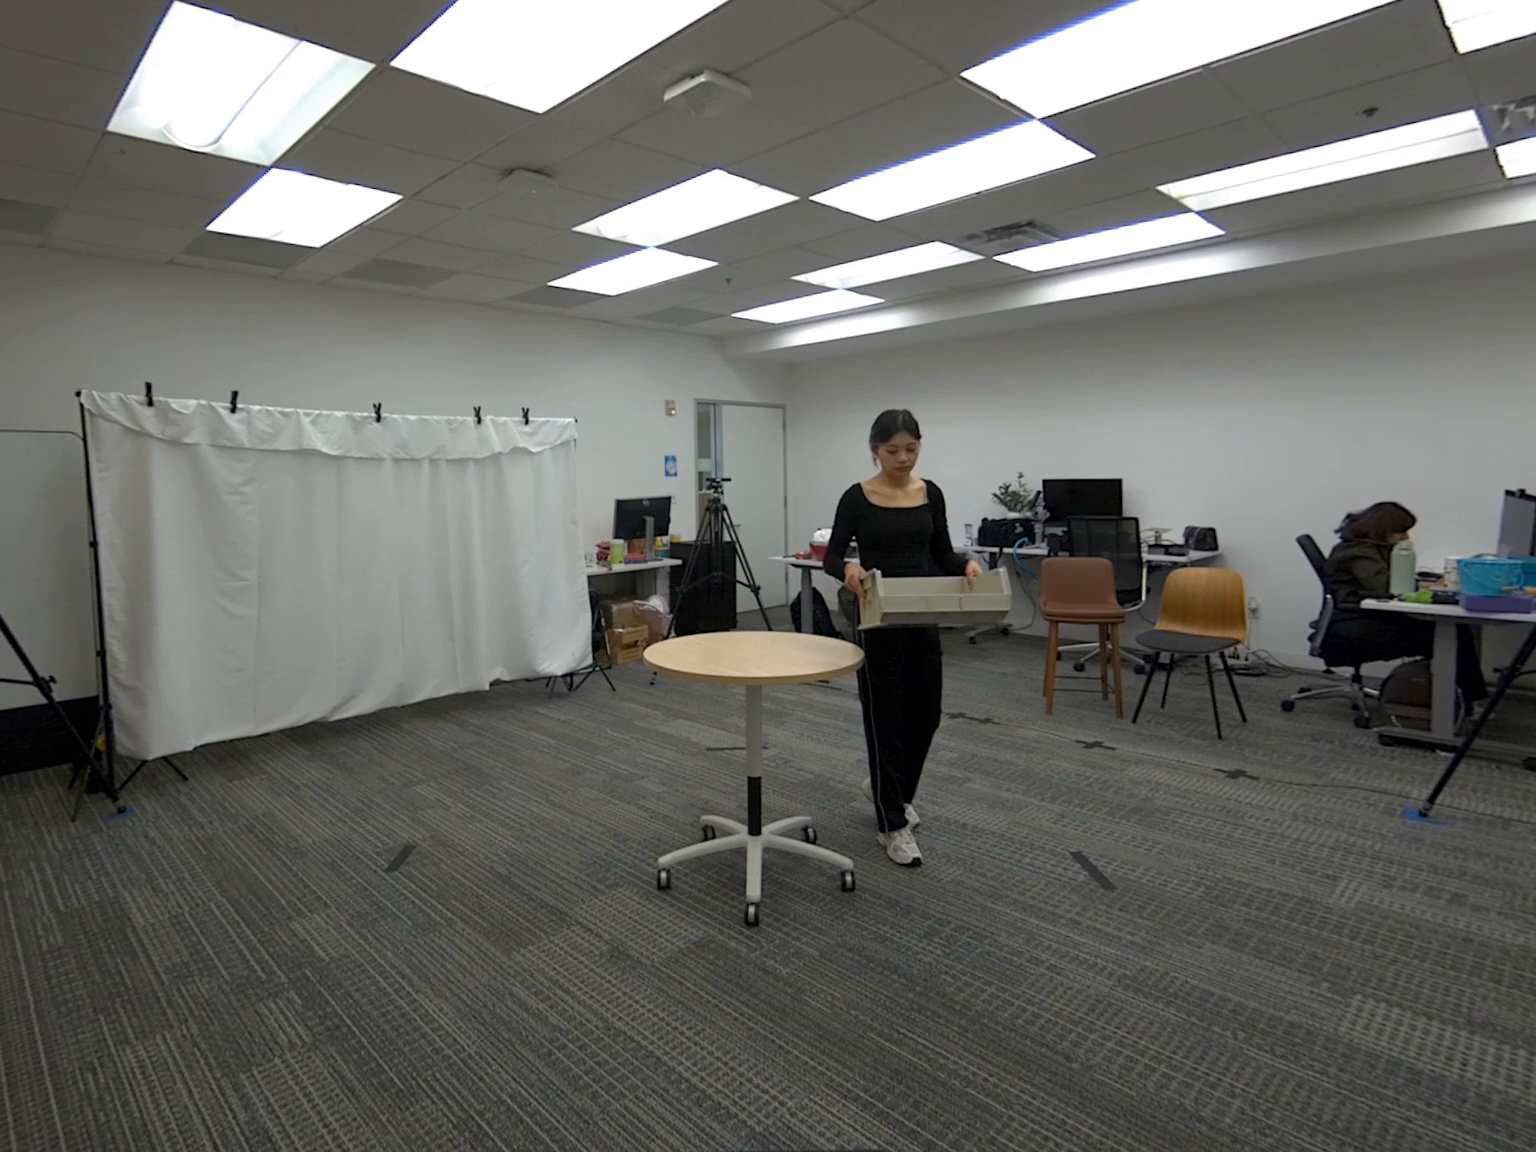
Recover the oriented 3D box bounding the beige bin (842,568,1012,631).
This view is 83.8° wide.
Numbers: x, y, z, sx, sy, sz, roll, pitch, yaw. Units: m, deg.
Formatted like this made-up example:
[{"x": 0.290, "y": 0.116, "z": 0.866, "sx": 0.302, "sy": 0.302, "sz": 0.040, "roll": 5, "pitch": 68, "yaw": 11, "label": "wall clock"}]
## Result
[{"x": 0.523, "y": 0.079, "z": 2.833, "sx": 0.421, "sy": 0.190, "sz": 0.375, "roll": -1, "pitch": -7, "yaw": -4, "label": "beige bin"}]
